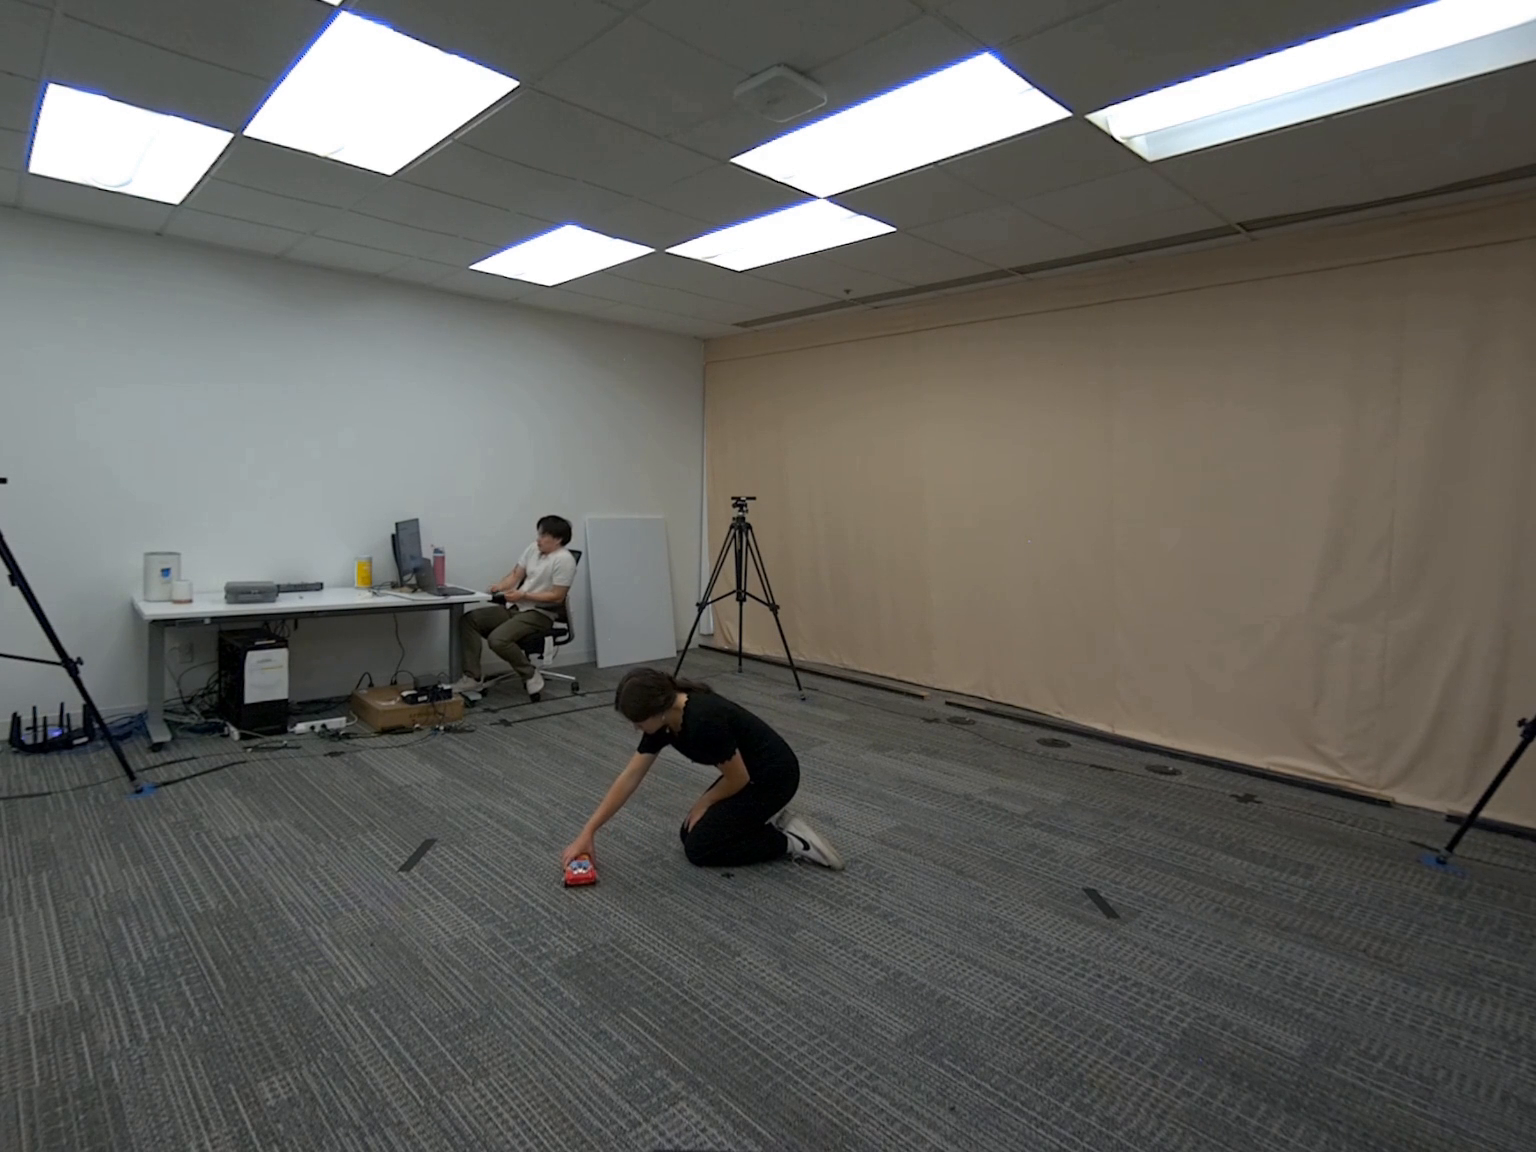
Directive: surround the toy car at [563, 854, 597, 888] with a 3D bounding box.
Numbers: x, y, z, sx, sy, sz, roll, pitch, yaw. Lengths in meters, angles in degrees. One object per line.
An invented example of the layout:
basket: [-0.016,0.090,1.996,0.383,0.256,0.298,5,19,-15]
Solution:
toy car: [-0.711,1.063,3.101,0.129,0.082,0.260,0,16,-15]
